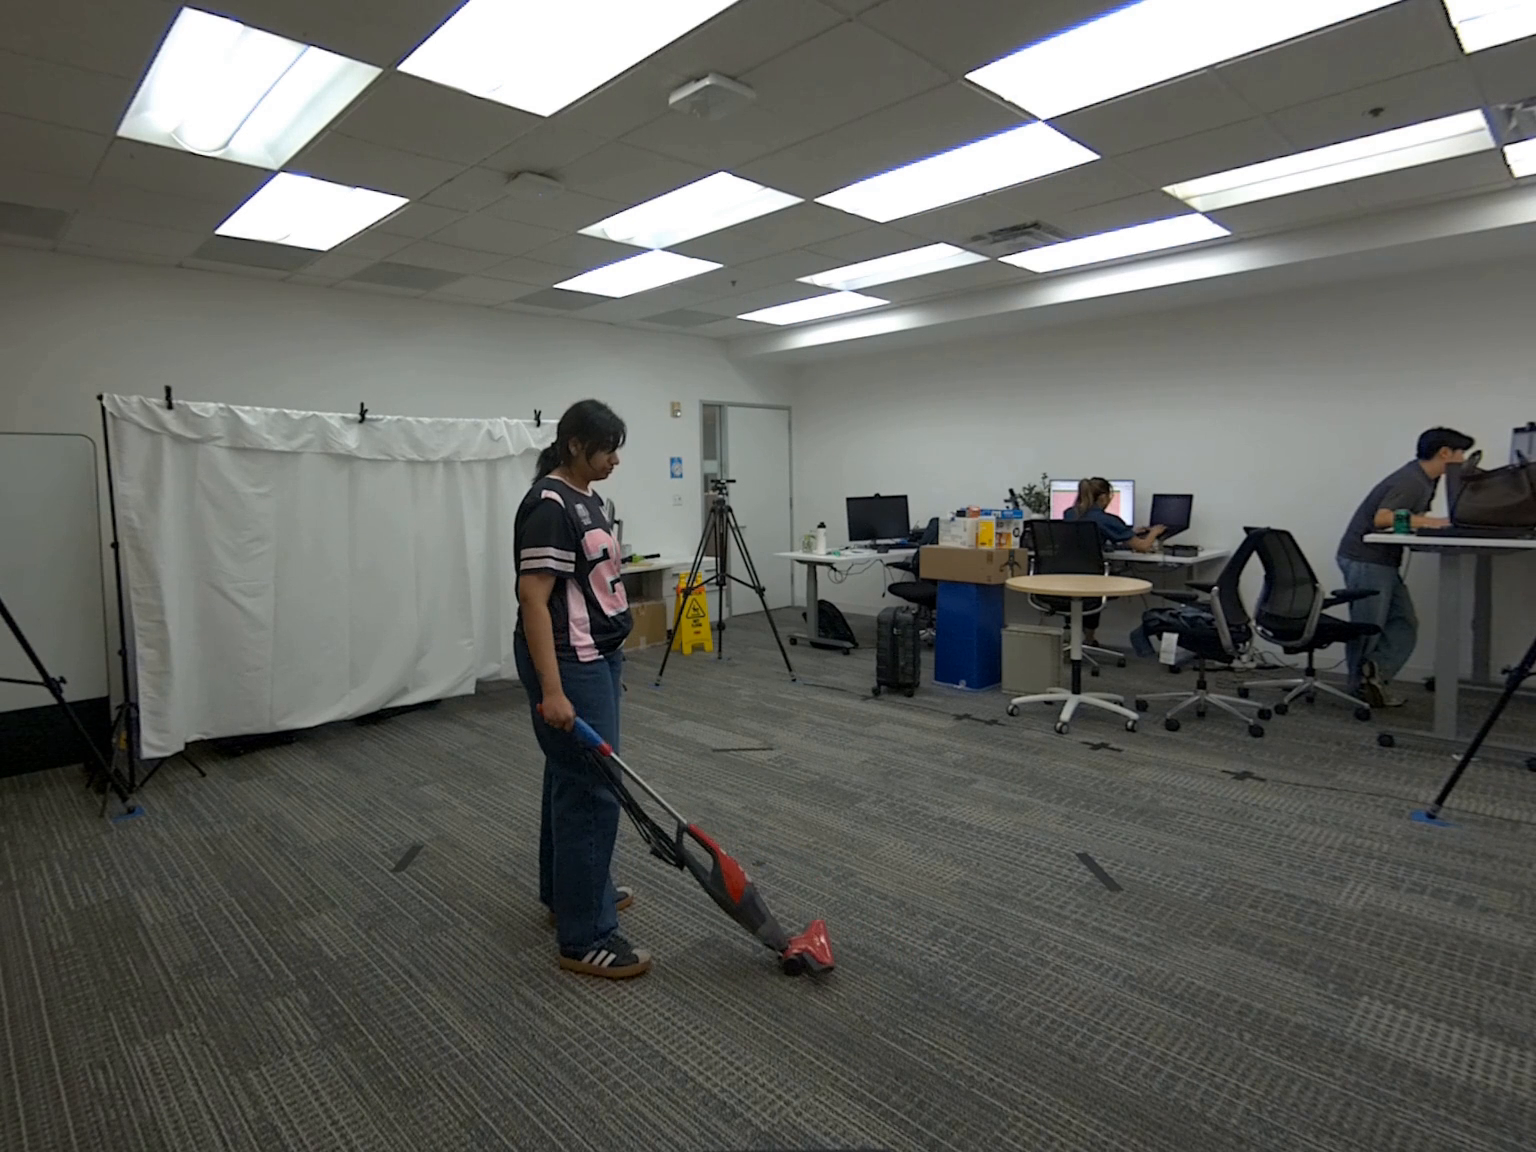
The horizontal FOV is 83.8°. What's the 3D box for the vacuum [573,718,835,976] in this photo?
[{"bbox_3d":[-0.262,0.739,2.451,1.048,0.144,0.253,42,-1,-1],"label":"vacuum"}]
